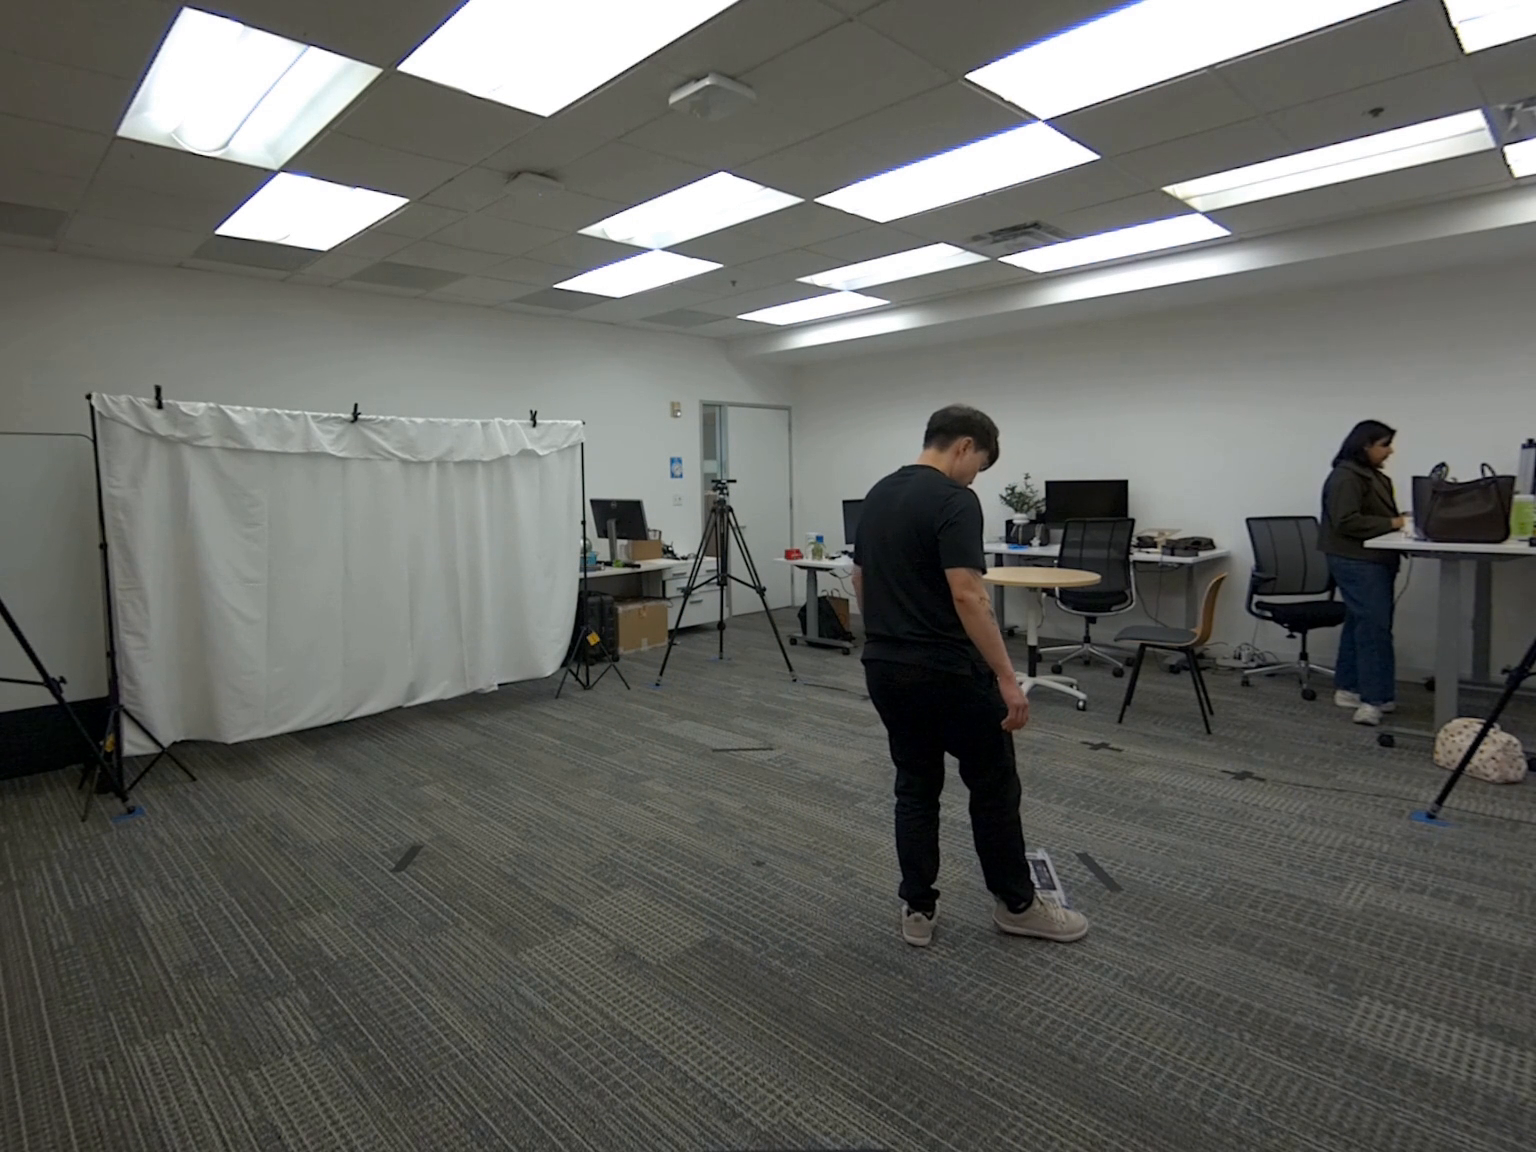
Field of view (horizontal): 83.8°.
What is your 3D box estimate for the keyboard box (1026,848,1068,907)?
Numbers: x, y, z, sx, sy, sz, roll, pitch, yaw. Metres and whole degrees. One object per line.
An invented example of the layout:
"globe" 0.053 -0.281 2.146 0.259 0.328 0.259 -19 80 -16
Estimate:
"keyboard box" 0.880 1.029 2.859 0.178 0.059 0.434 0 6 9
